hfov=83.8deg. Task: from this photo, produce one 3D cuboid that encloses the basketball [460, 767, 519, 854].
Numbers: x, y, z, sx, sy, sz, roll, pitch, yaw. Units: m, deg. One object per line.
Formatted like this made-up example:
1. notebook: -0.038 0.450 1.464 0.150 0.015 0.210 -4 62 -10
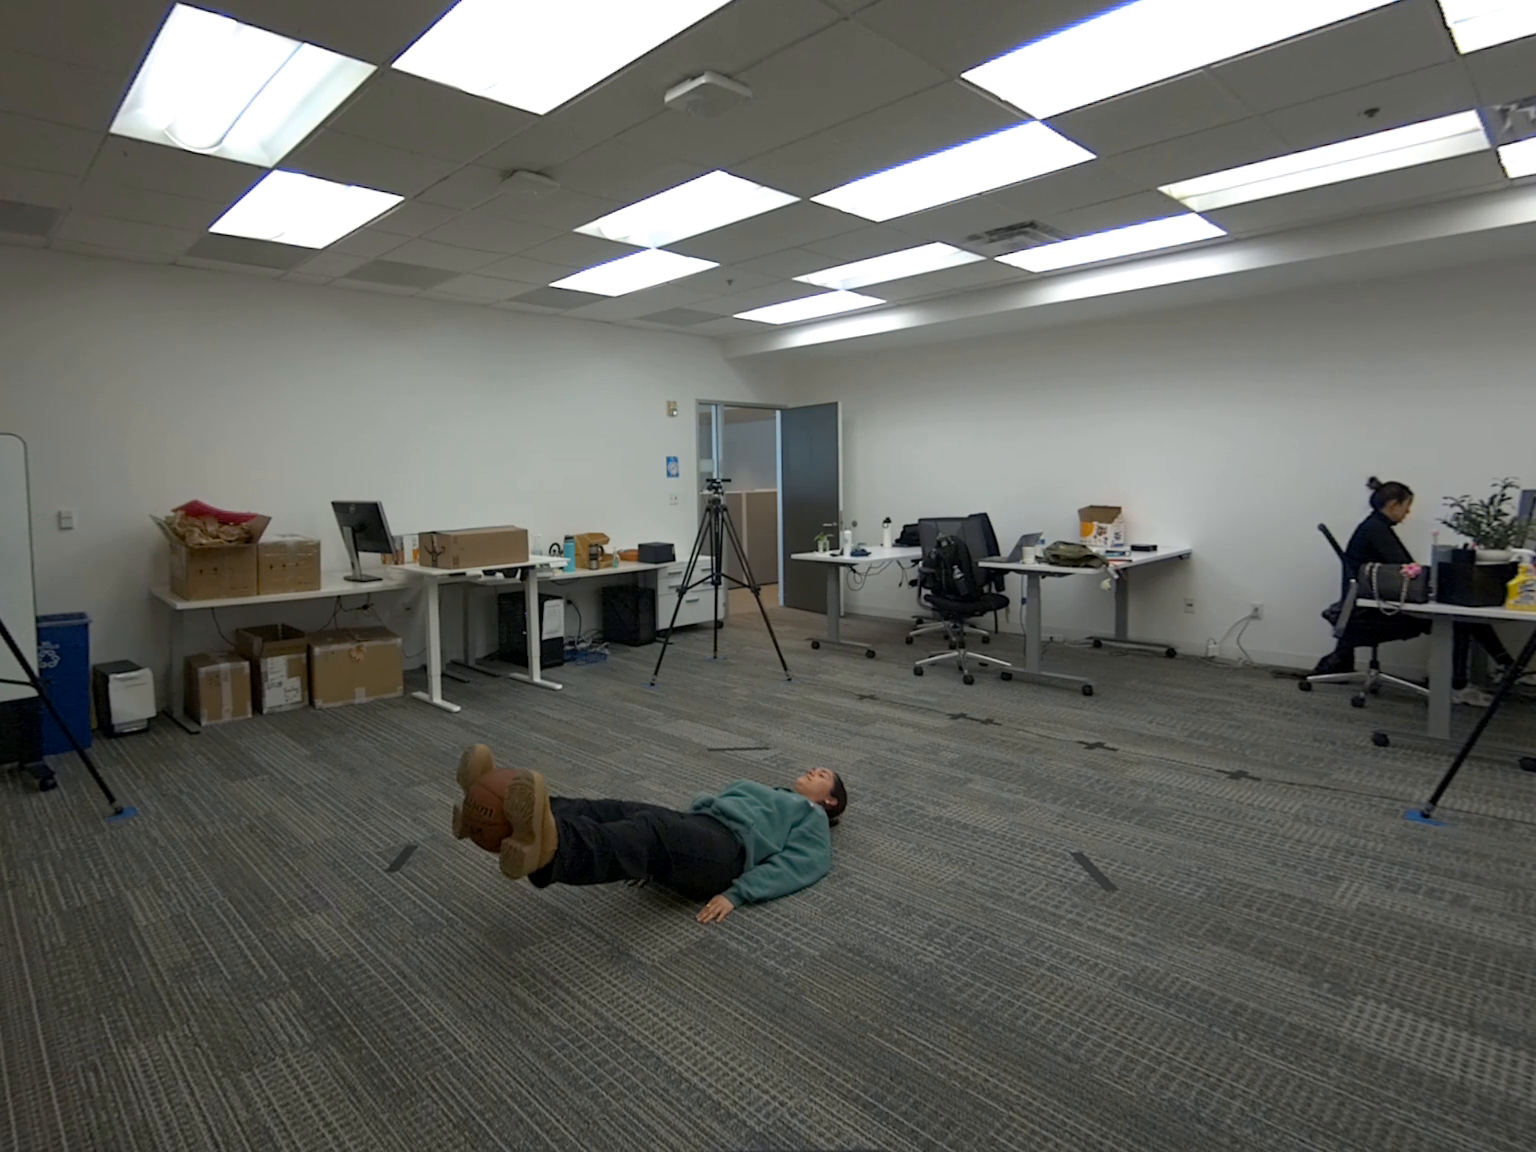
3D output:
1. basketball: -0.742 0.669 2.434 0.236 0.235 0.237 -1 4 -2
